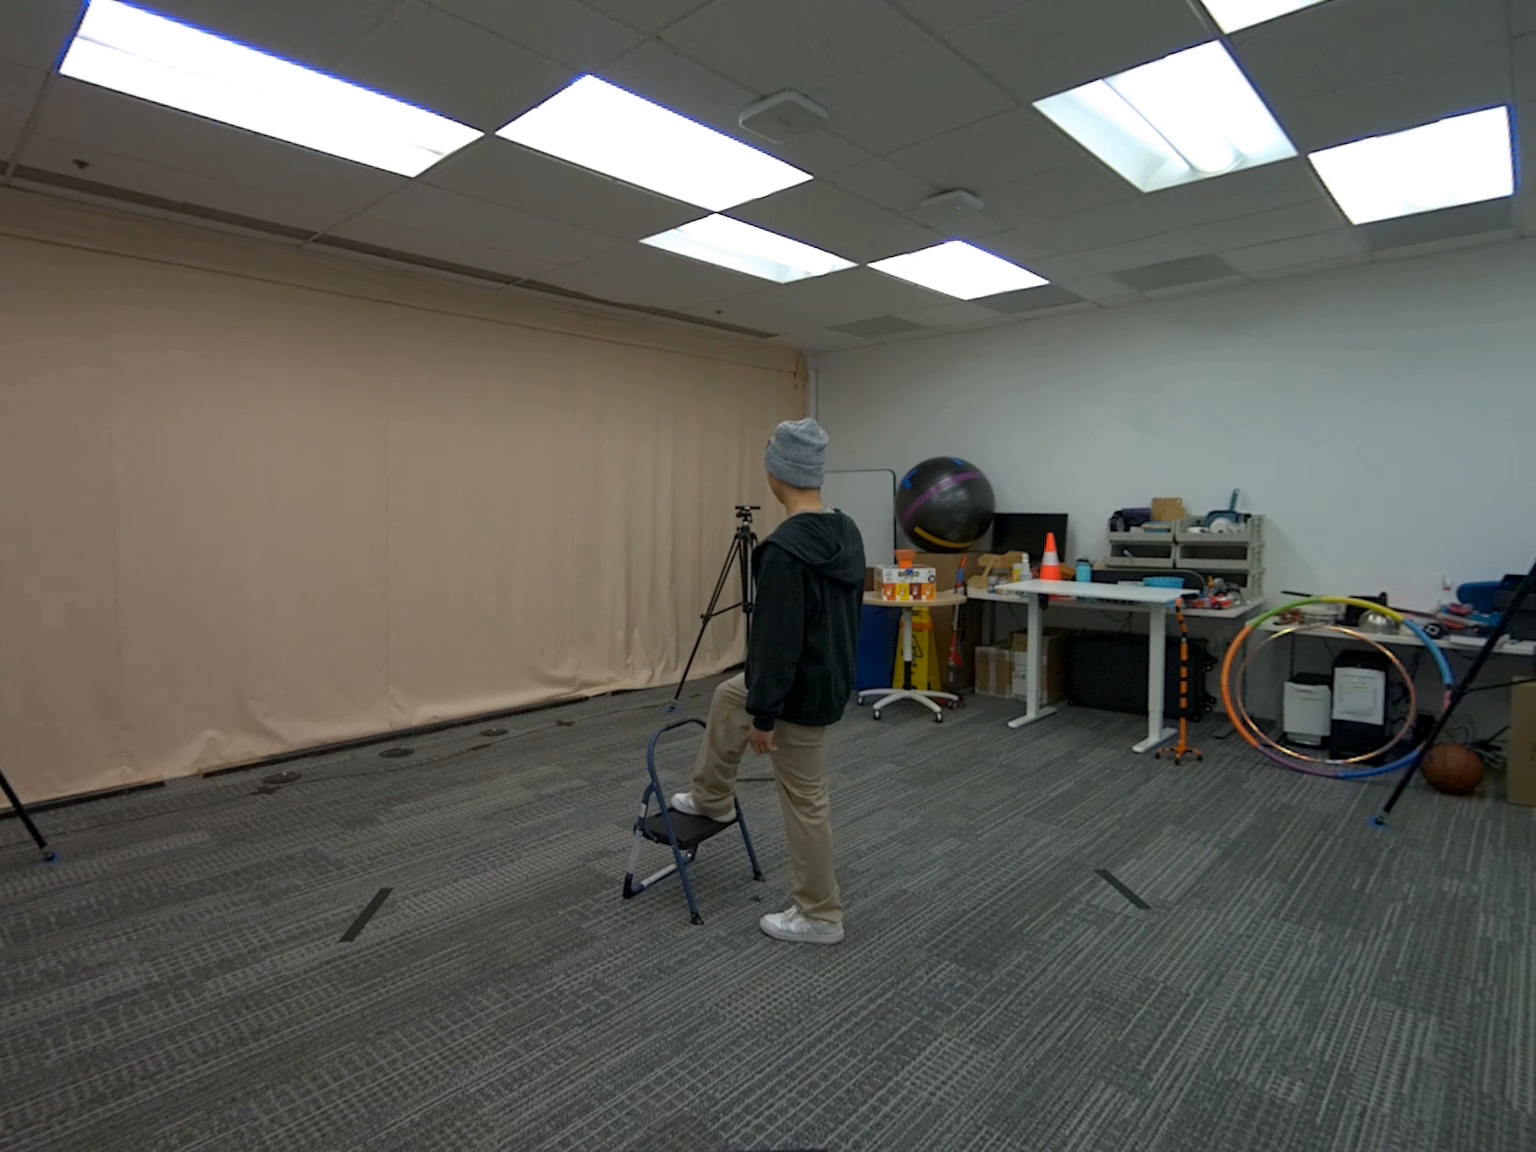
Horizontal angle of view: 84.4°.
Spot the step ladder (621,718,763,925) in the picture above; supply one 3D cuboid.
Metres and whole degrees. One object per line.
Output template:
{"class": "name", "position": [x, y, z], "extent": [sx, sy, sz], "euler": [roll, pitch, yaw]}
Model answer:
{"class": "step ladder", "position": [-0.269, 0.837, 3.054], "extent": [0.360, 0.605, 0.419], "euler": [2, 4, 32]}
